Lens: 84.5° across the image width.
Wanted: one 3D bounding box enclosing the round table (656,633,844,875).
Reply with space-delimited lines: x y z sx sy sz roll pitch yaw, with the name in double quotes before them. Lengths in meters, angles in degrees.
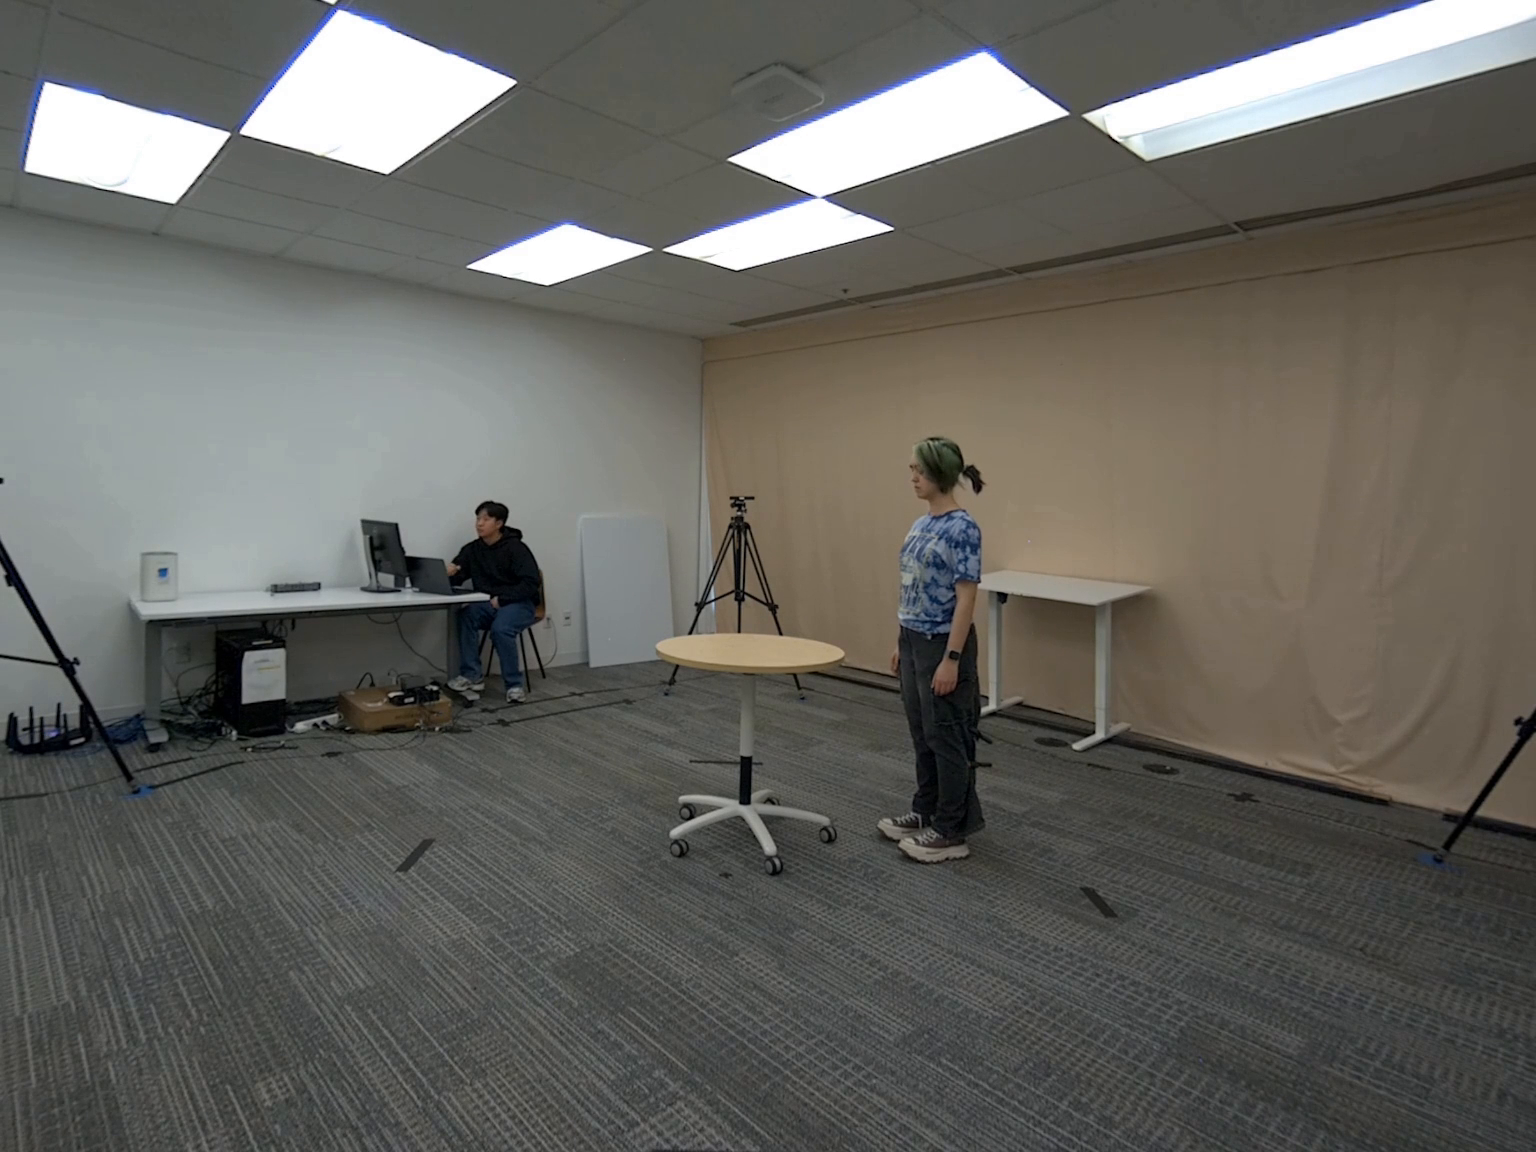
"round table" -0.093 0.688 3.429 0.763 0.792 0.766 2 4 -1
